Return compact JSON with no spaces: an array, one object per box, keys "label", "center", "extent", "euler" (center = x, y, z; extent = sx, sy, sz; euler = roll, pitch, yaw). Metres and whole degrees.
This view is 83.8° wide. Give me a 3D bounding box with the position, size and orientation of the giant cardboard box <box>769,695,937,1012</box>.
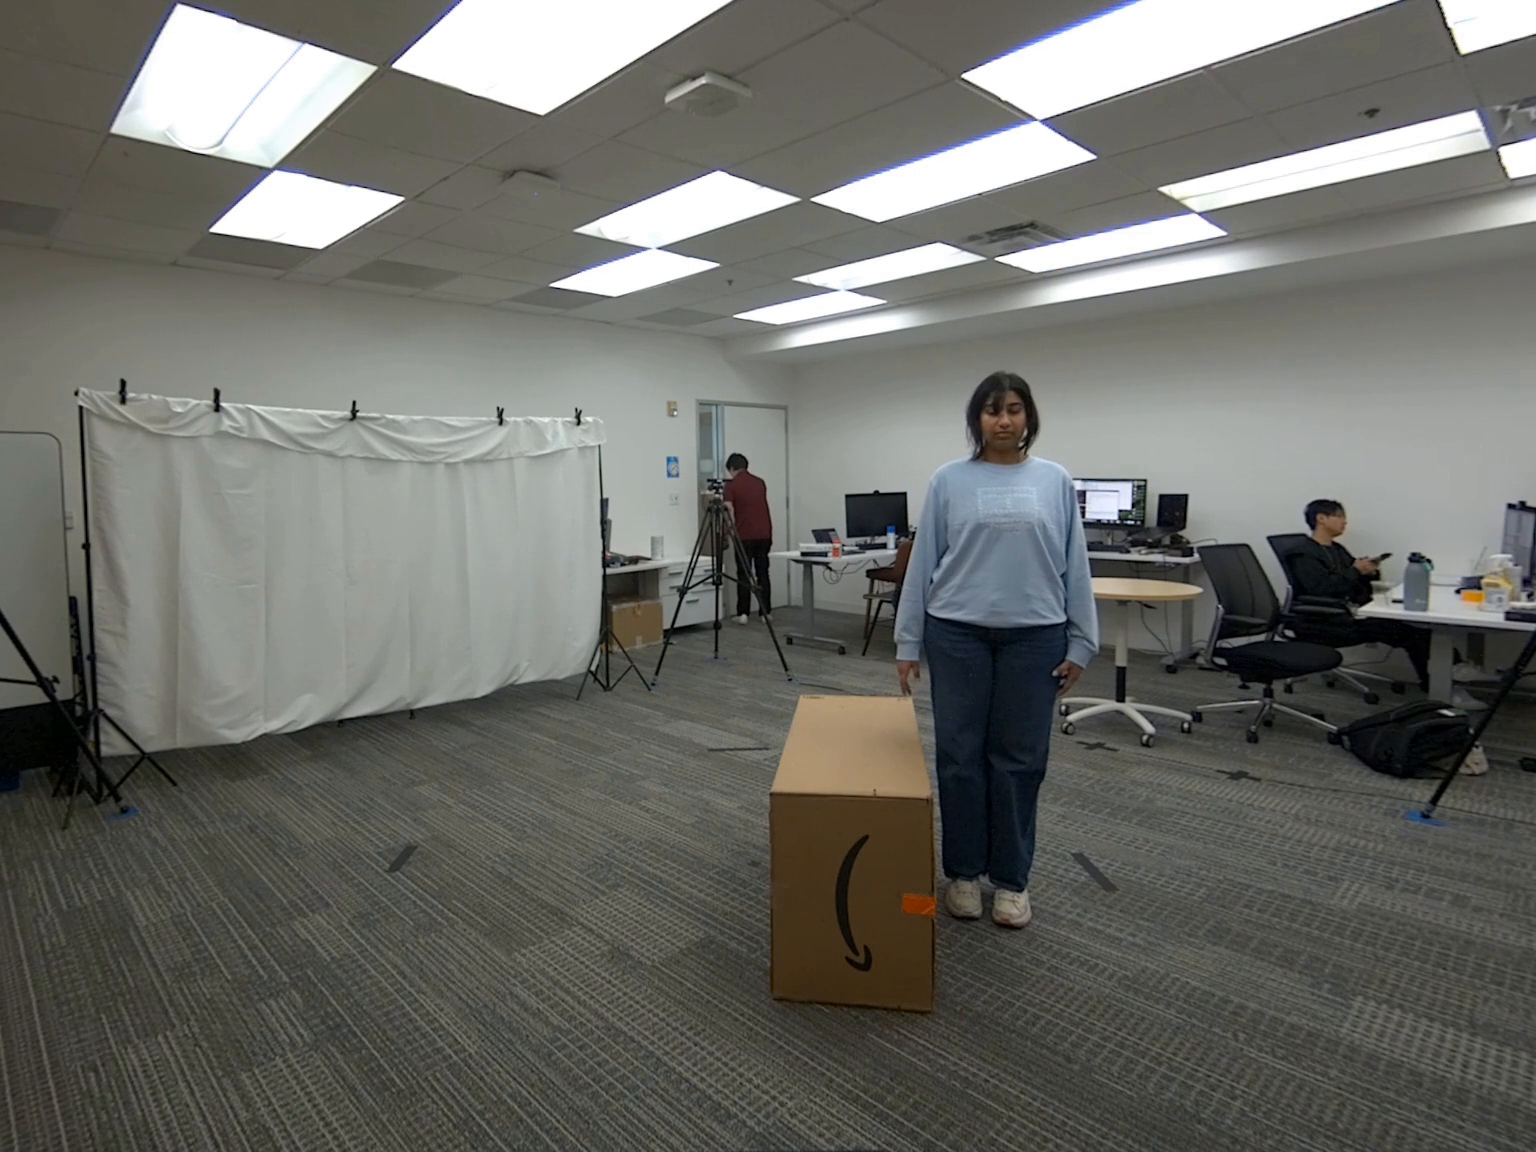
[{"label":"giant cardboard box","center":[0.279,0.793,2.734],"extent":[0.430,0.575,1.022],"euler":[0,6,7]}]
